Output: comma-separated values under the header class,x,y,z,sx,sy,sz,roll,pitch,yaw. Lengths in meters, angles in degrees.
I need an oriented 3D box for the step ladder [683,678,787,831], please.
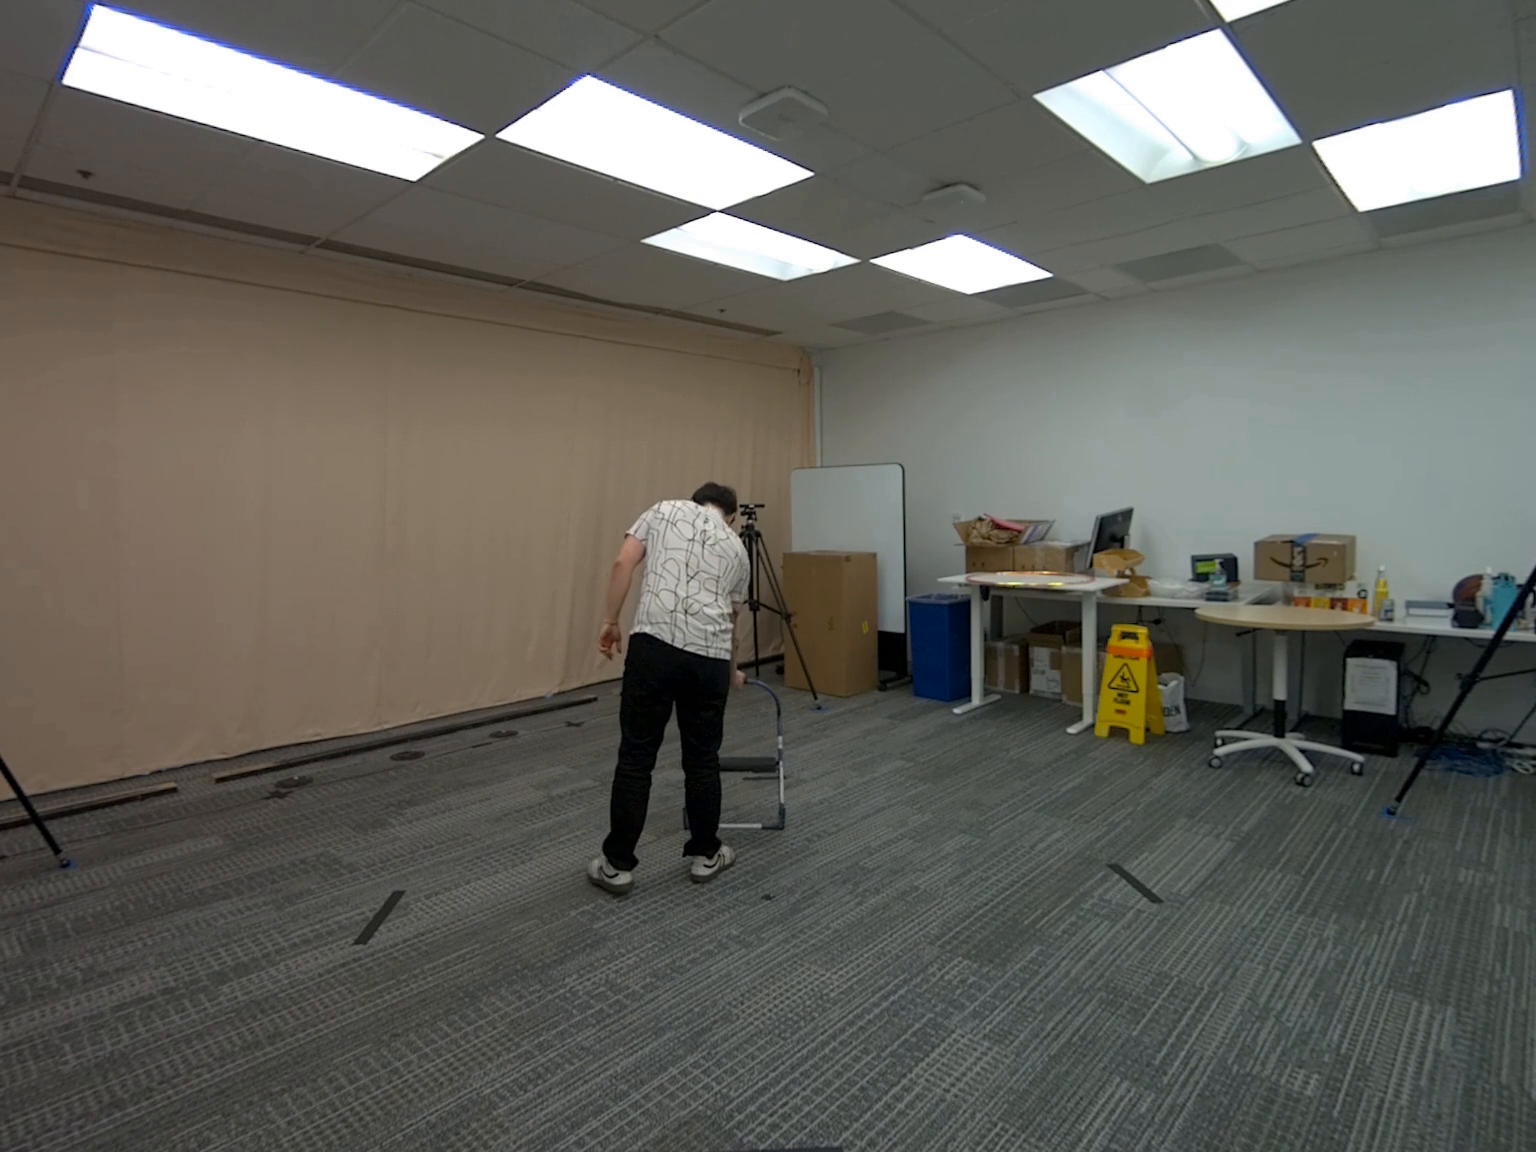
class,x,y,z,sx,sy,sz,roll,pitch,yaw
step ladder,-0.136,0.722,3.632,0.431,0.607,0.348,-1,-3,1
